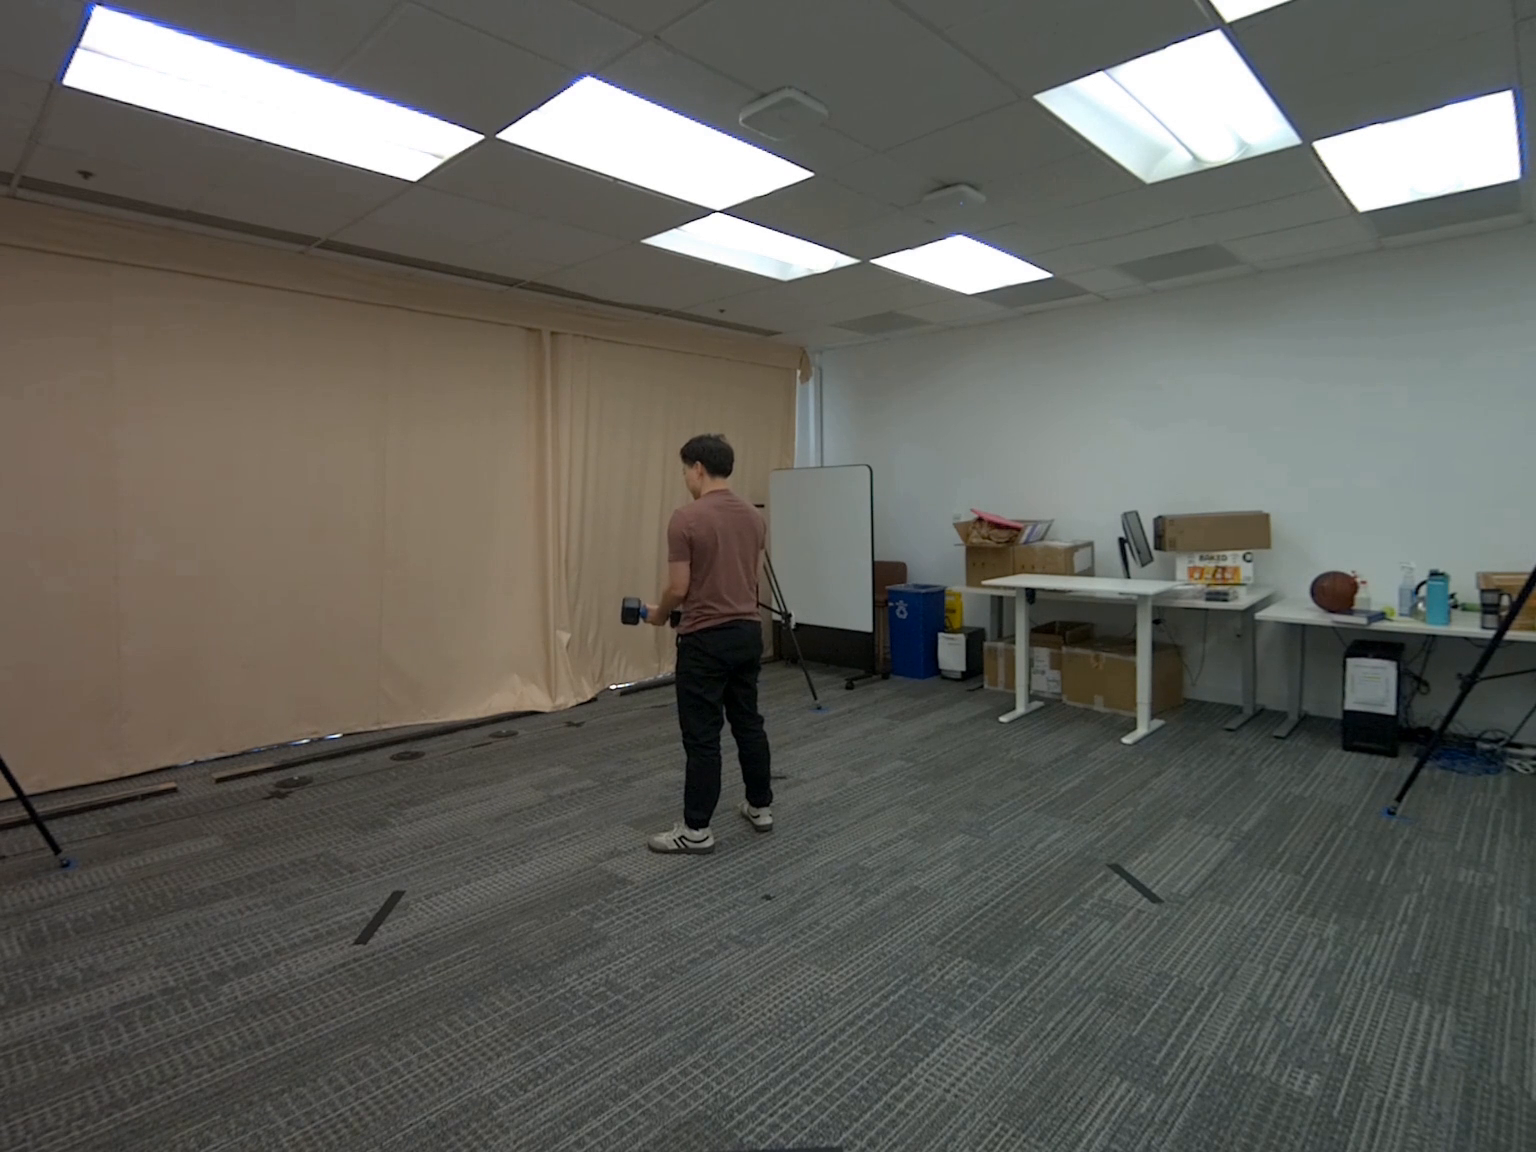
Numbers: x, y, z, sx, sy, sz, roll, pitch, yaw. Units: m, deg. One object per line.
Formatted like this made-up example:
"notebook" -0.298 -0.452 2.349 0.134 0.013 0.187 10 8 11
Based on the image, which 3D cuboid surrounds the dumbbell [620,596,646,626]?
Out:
"dumbbell" -0.487 0.150 3.654 0.291 0.122 0.110 4 9 -6
